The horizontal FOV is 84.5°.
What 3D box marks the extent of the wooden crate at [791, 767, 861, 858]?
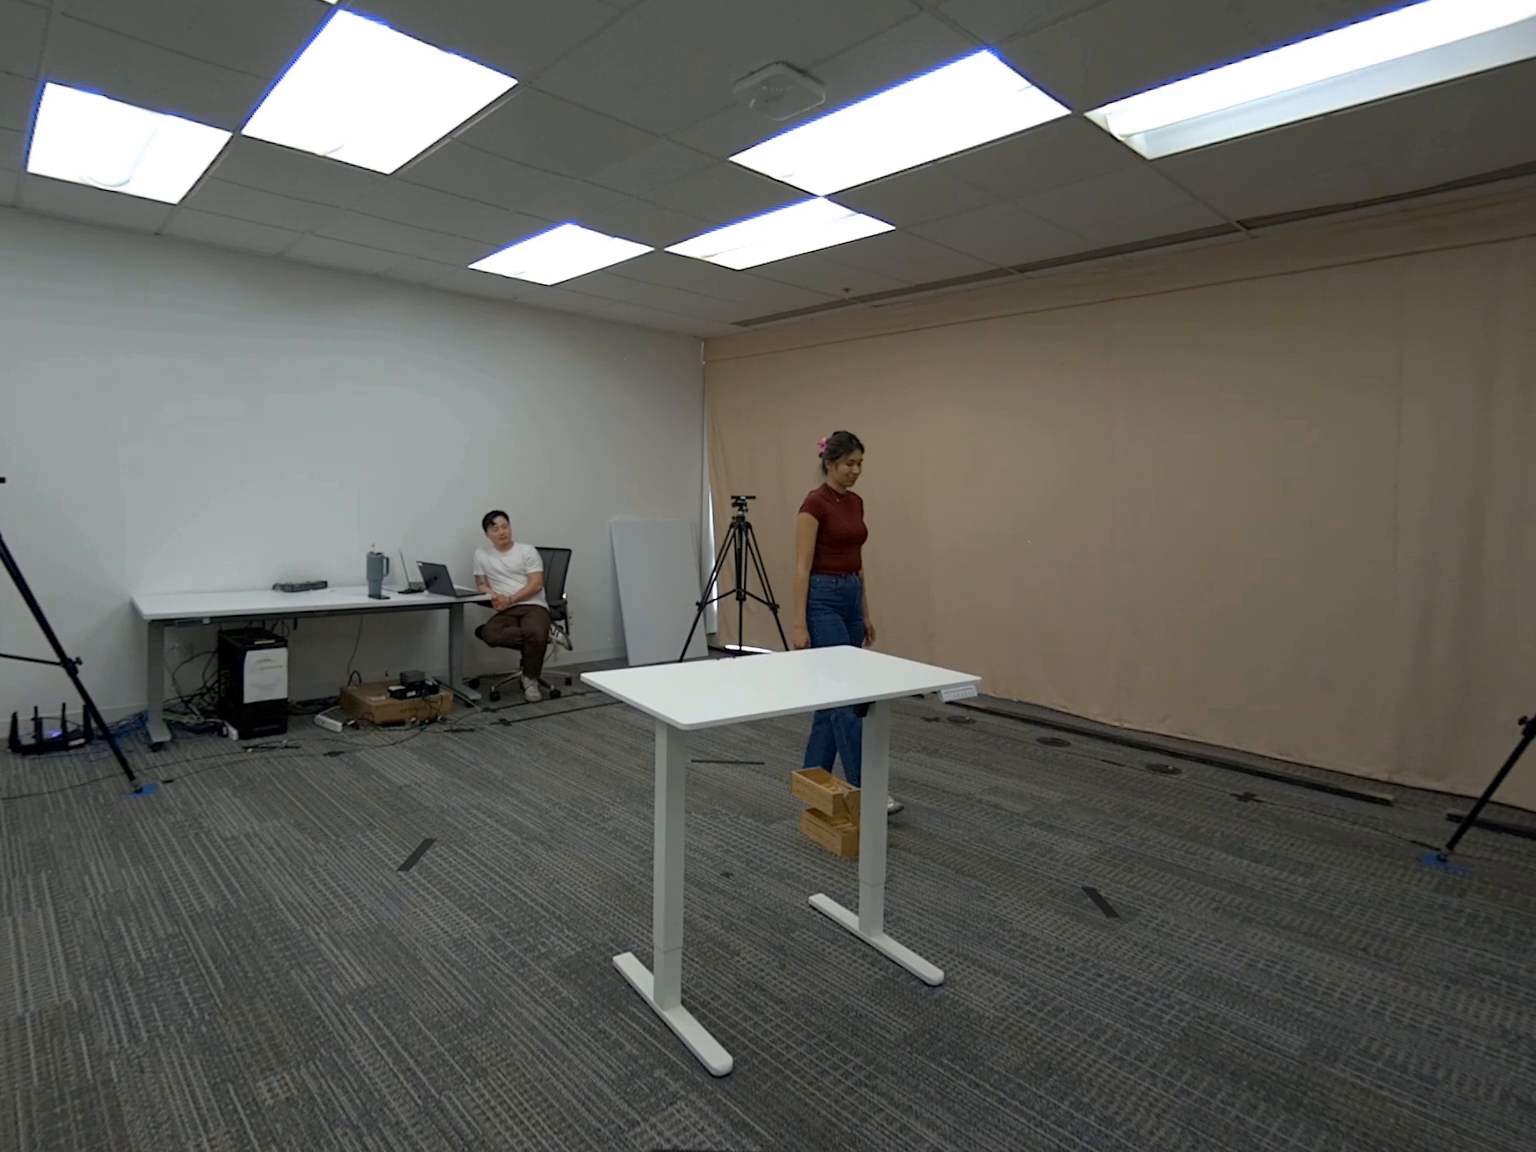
[{"bbox_3d":[0.289,0.949,3.447,0.296,0.272,0.332,-1,5,-30],"label":"wooden crate"}]
